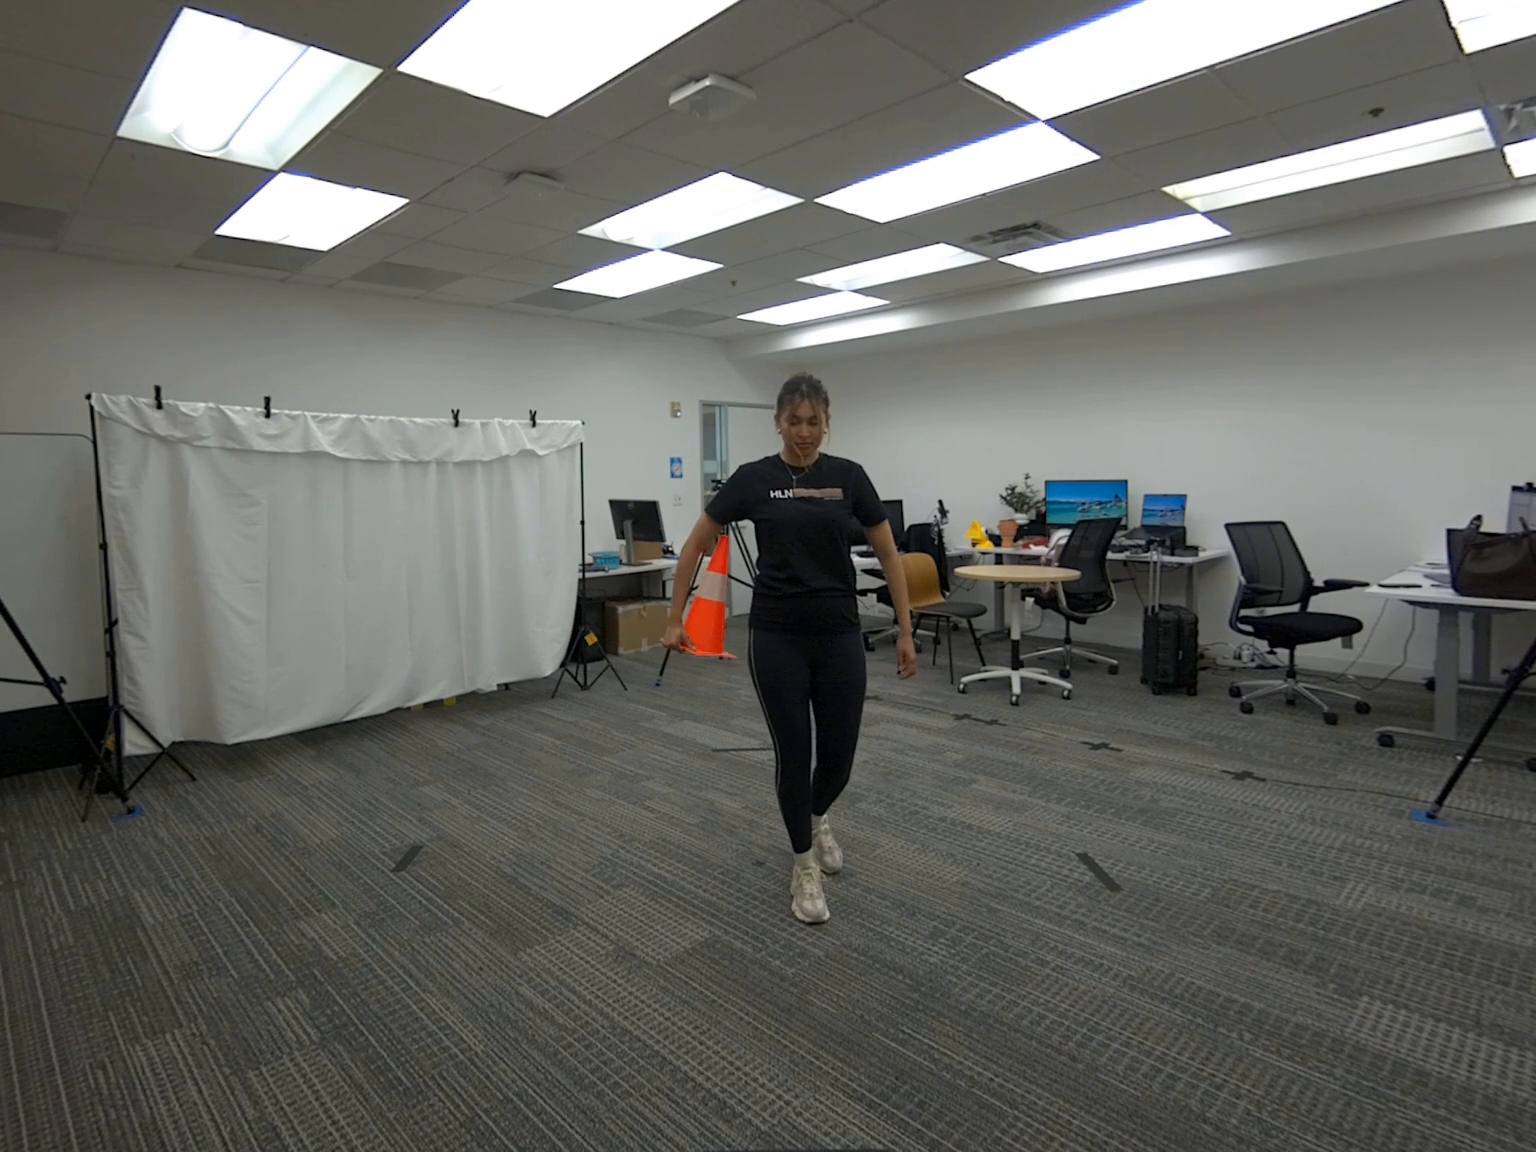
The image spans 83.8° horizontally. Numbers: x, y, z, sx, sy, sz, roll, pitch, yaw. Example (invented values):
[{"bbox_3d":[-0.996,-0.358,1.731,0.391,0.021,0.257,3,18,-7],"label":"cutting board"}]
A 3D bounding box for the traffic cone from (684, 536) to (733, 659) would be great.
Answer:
[{"bbox_3d":[-0.165,0.053,2.821,0.210,0.384,0.198,12,0,39],"label":"traffic cone"}]
